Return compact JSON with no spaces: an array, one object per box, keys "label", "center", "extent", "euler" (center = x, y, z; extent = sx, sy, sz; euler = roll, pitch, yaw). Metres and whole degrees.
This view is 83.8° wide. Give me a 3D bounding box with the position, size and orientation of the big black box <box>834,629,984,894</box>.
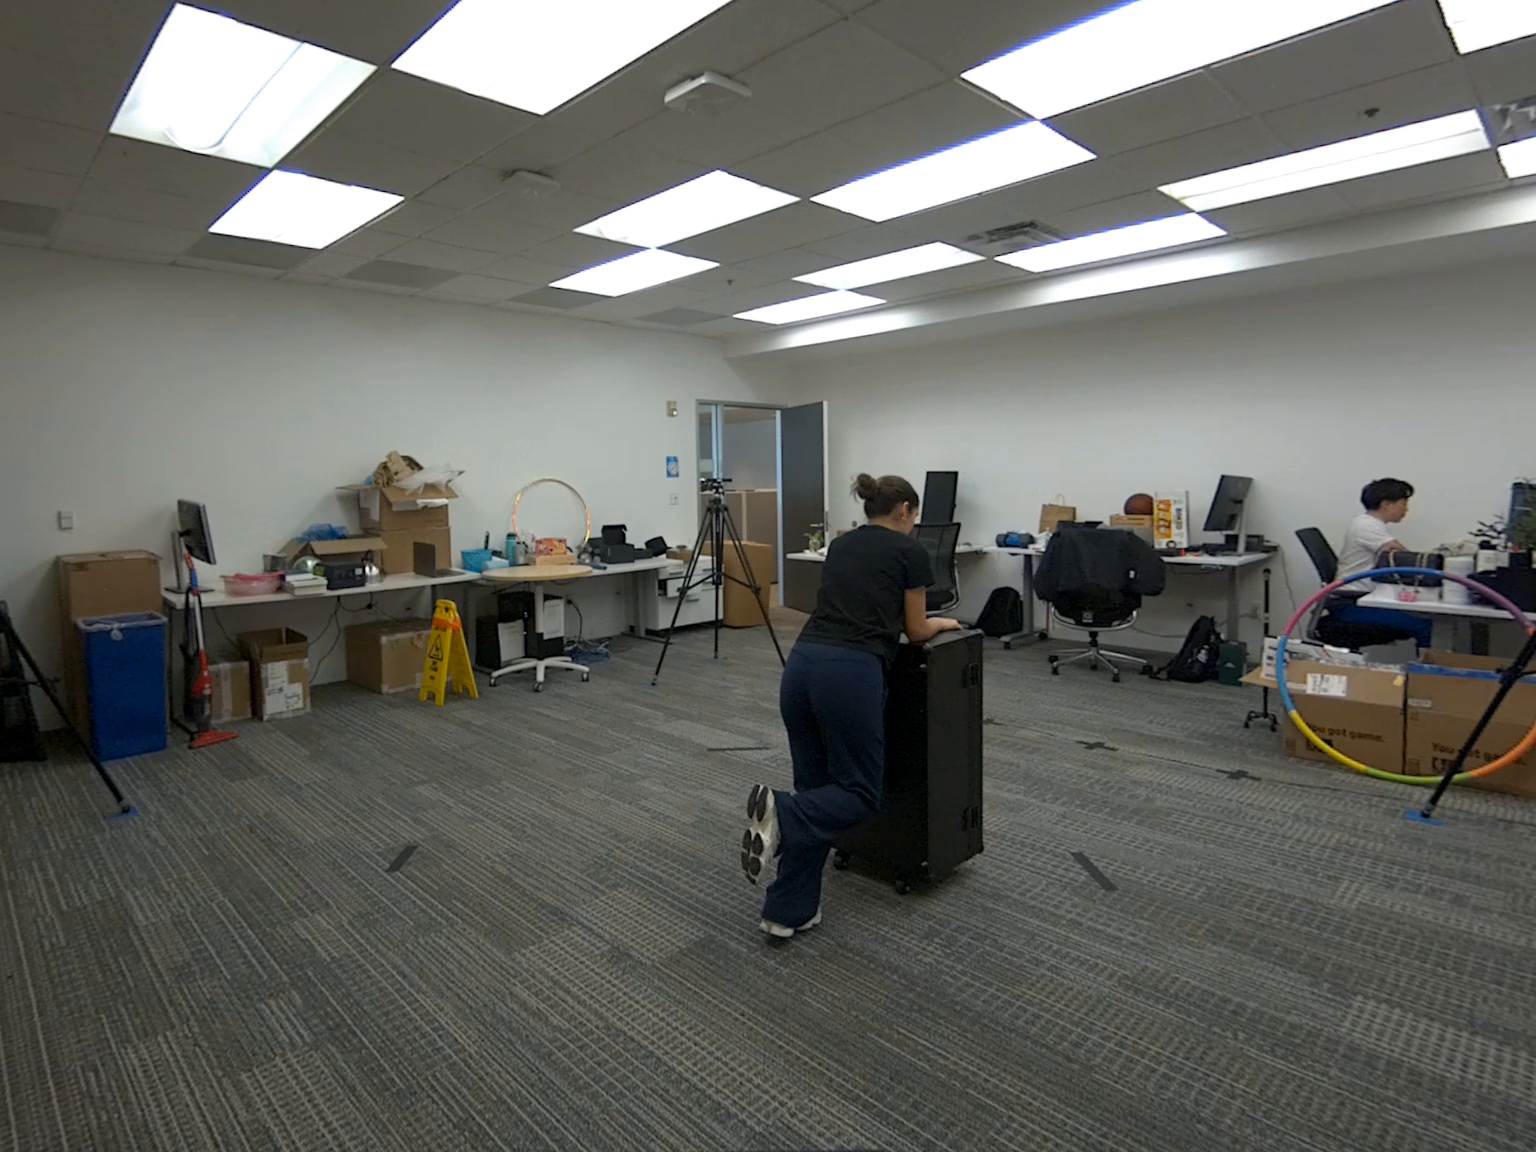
[{"label":"big black box","center":[0.452,0.562,3.056],"extent":[0.537,0.859,0.385],"euler":[3,5,44]}]
